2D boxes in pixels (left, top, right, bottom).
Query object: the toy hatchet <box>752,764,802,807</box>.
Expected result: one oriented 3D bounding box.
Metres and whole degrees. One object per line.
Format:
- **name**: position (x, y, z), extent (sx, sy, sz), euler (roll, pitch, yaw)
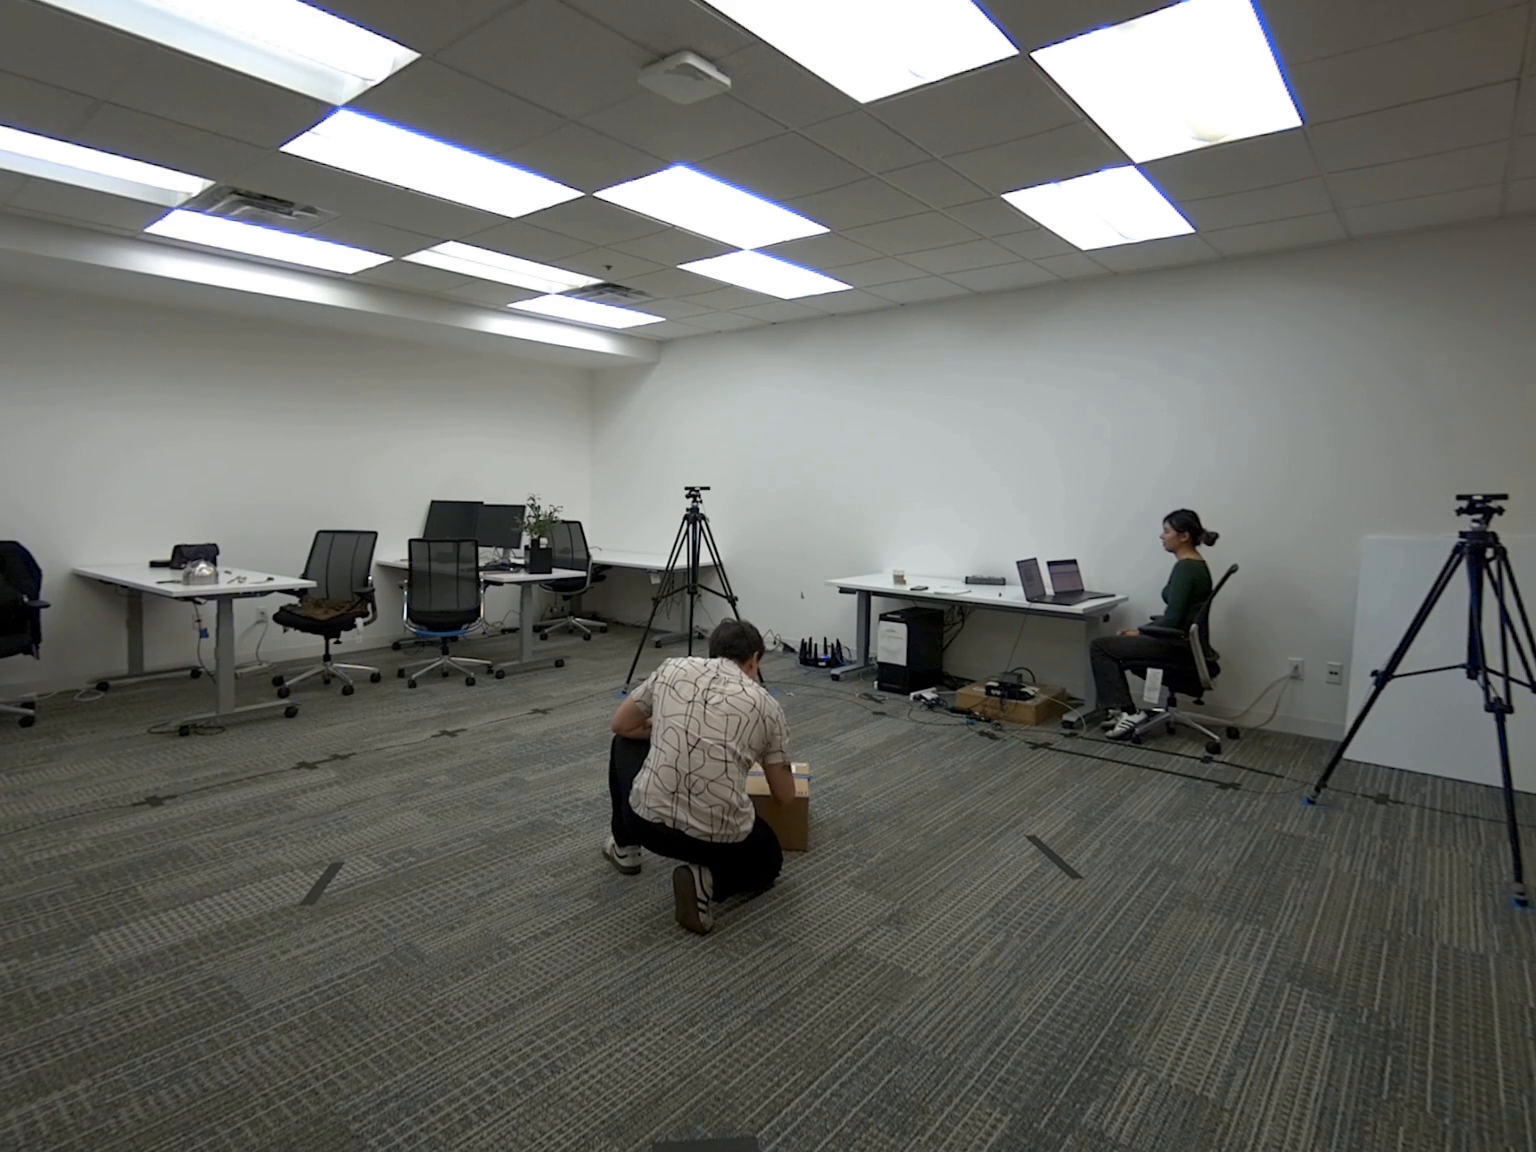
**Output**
- **toy hatchet**: position (0.008, 0.772, 3.257), extent (0.126, 0.029, 0.282), euler (29, 12, -42)
